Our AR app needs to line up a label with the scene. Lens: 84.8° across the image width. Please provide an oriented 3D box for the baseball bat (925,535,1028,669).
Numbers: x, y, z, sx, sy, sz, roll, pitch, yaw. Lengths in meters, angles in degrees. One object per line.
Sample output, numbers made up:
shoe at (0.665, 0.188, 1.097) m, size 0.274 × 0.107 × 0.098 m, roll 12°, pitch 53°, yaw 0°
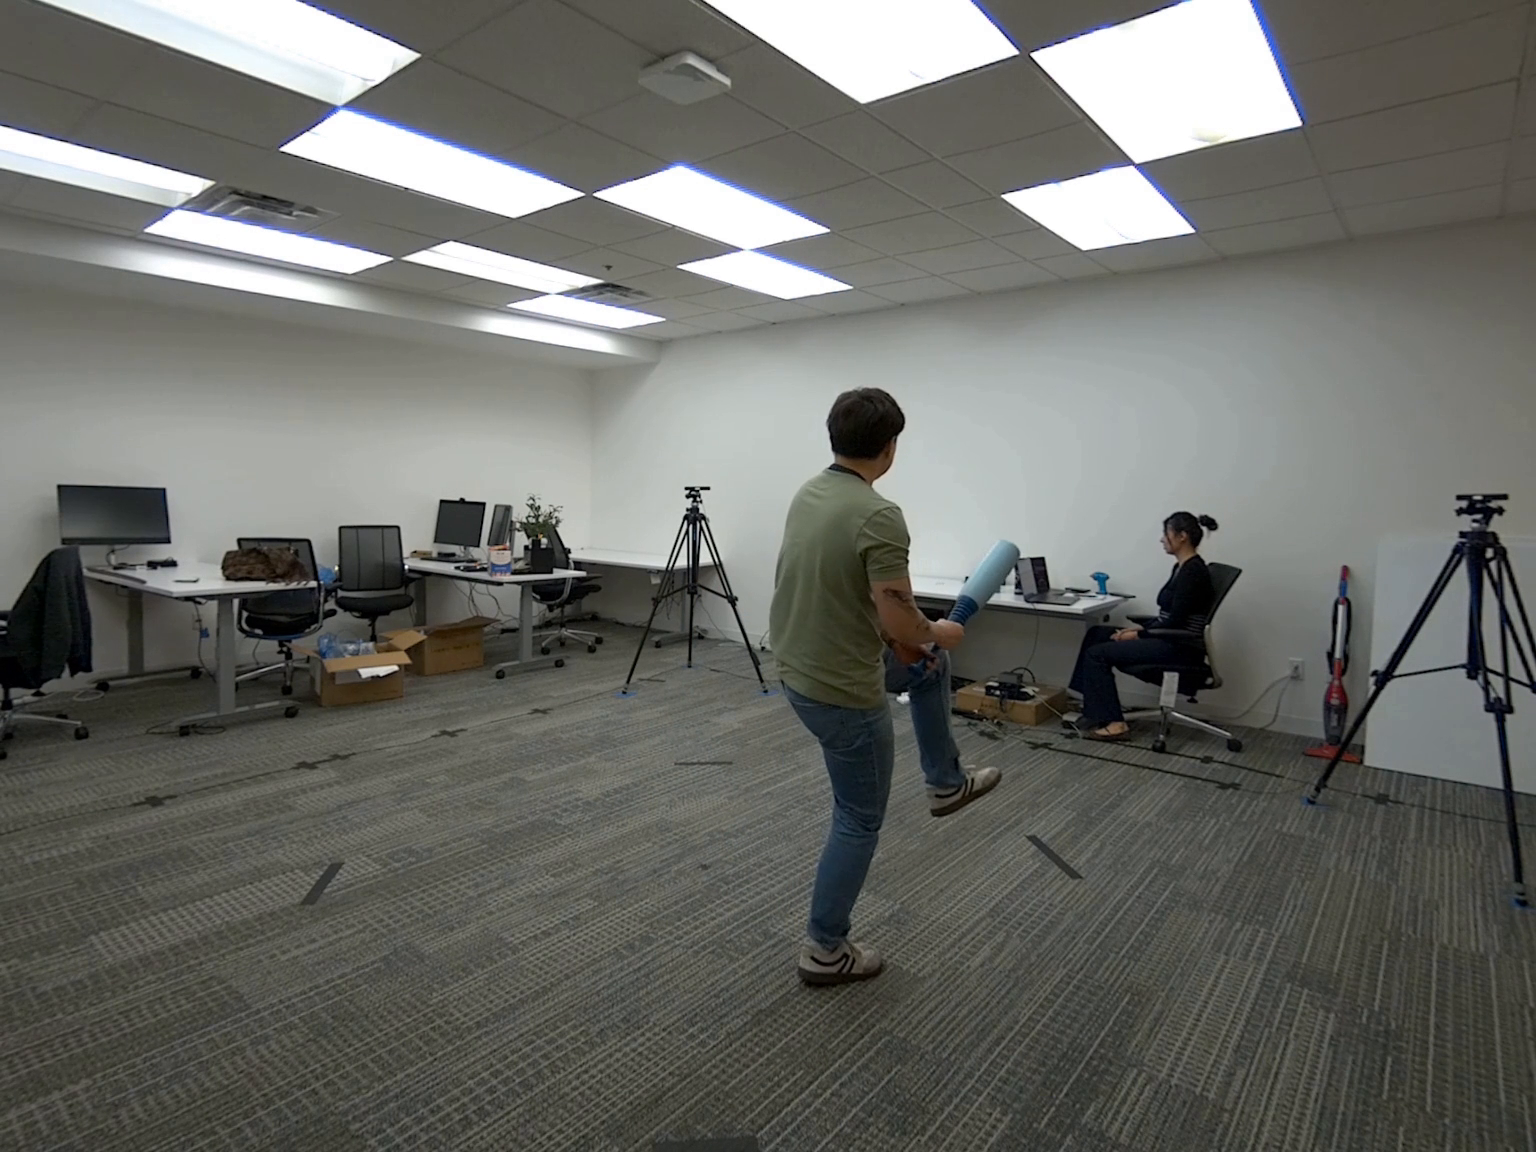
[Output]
baseball bat at (0.559, 0.095, 2.462) m, size 0.542 × 0.086 × 0.092 m, roll -46°, pitch 26°, yaw -21°
